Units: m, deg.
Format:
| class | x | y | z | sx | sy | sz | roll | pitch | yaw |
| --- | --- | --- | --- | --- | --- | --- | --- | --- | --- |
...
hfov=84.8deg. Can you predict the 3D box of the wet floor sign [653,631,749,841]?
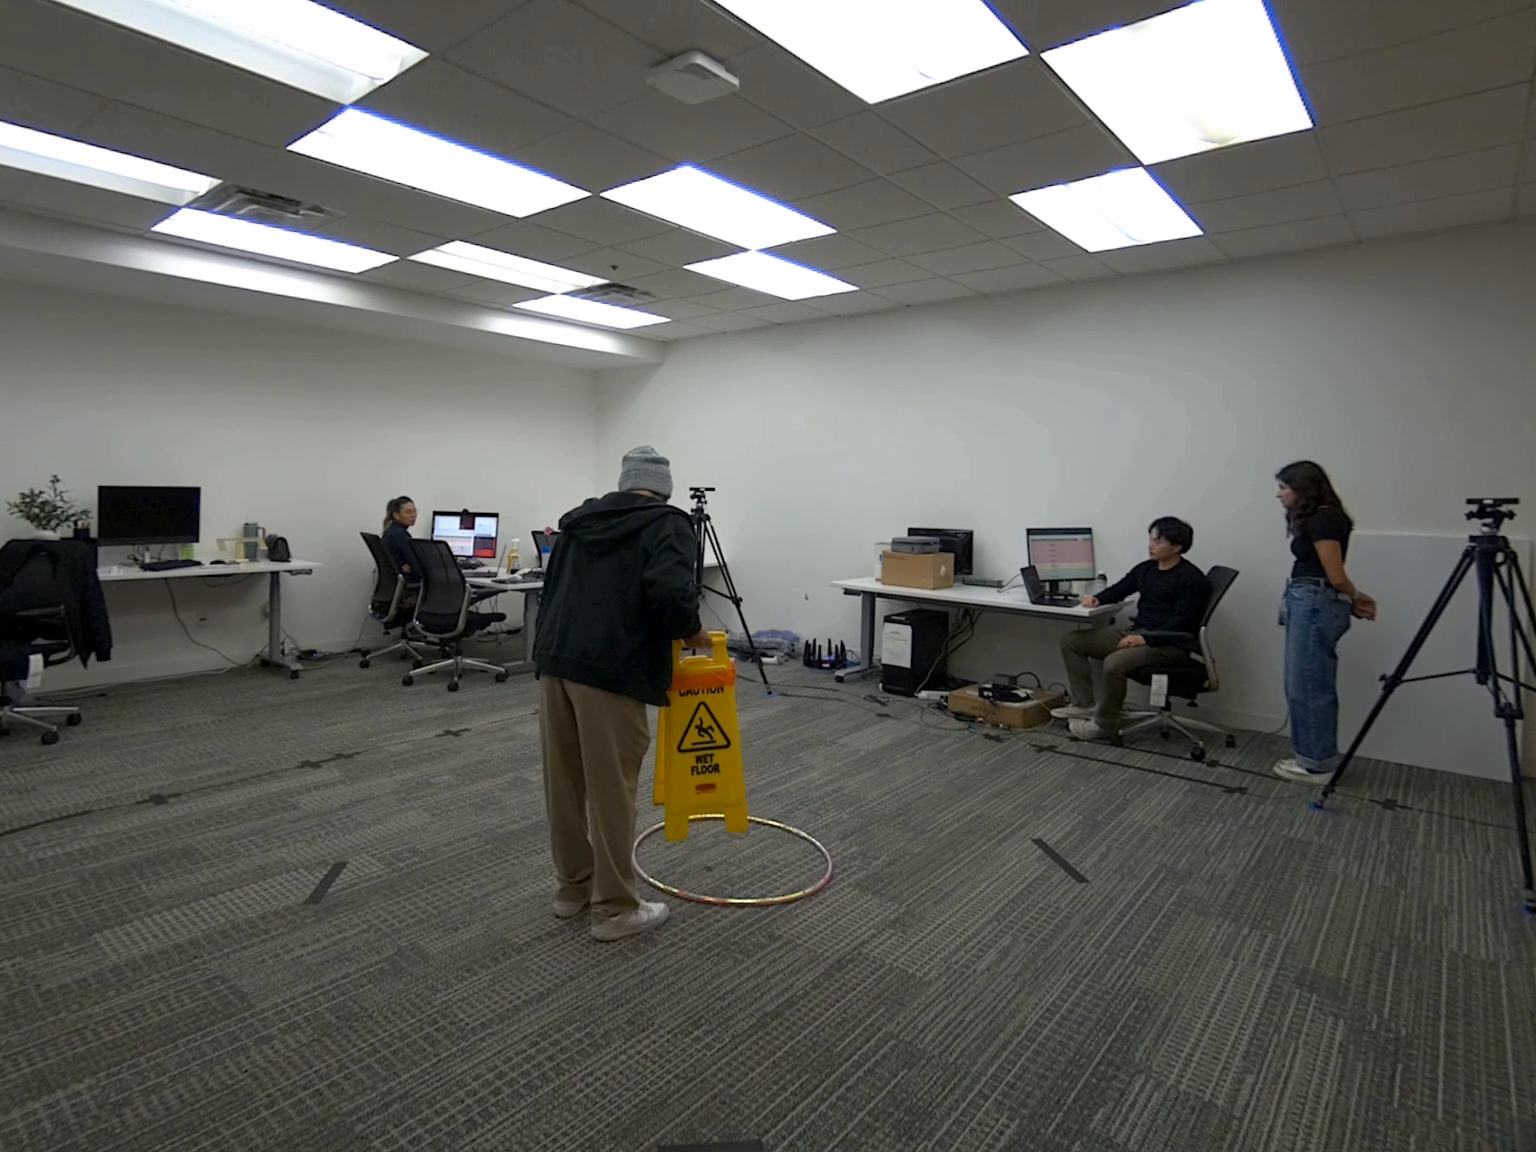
| class | x | y | z | sx | sy | sz | roll | pitch | yaw |
| --- | --- | --- | --- | --- | --- | --- | --- | --- | --- |
| wet floor sign | -0.237 | 0.497 | 2.826 | 0.278 | 0.640 | 0.297 | -1 | 10 | -16 |
